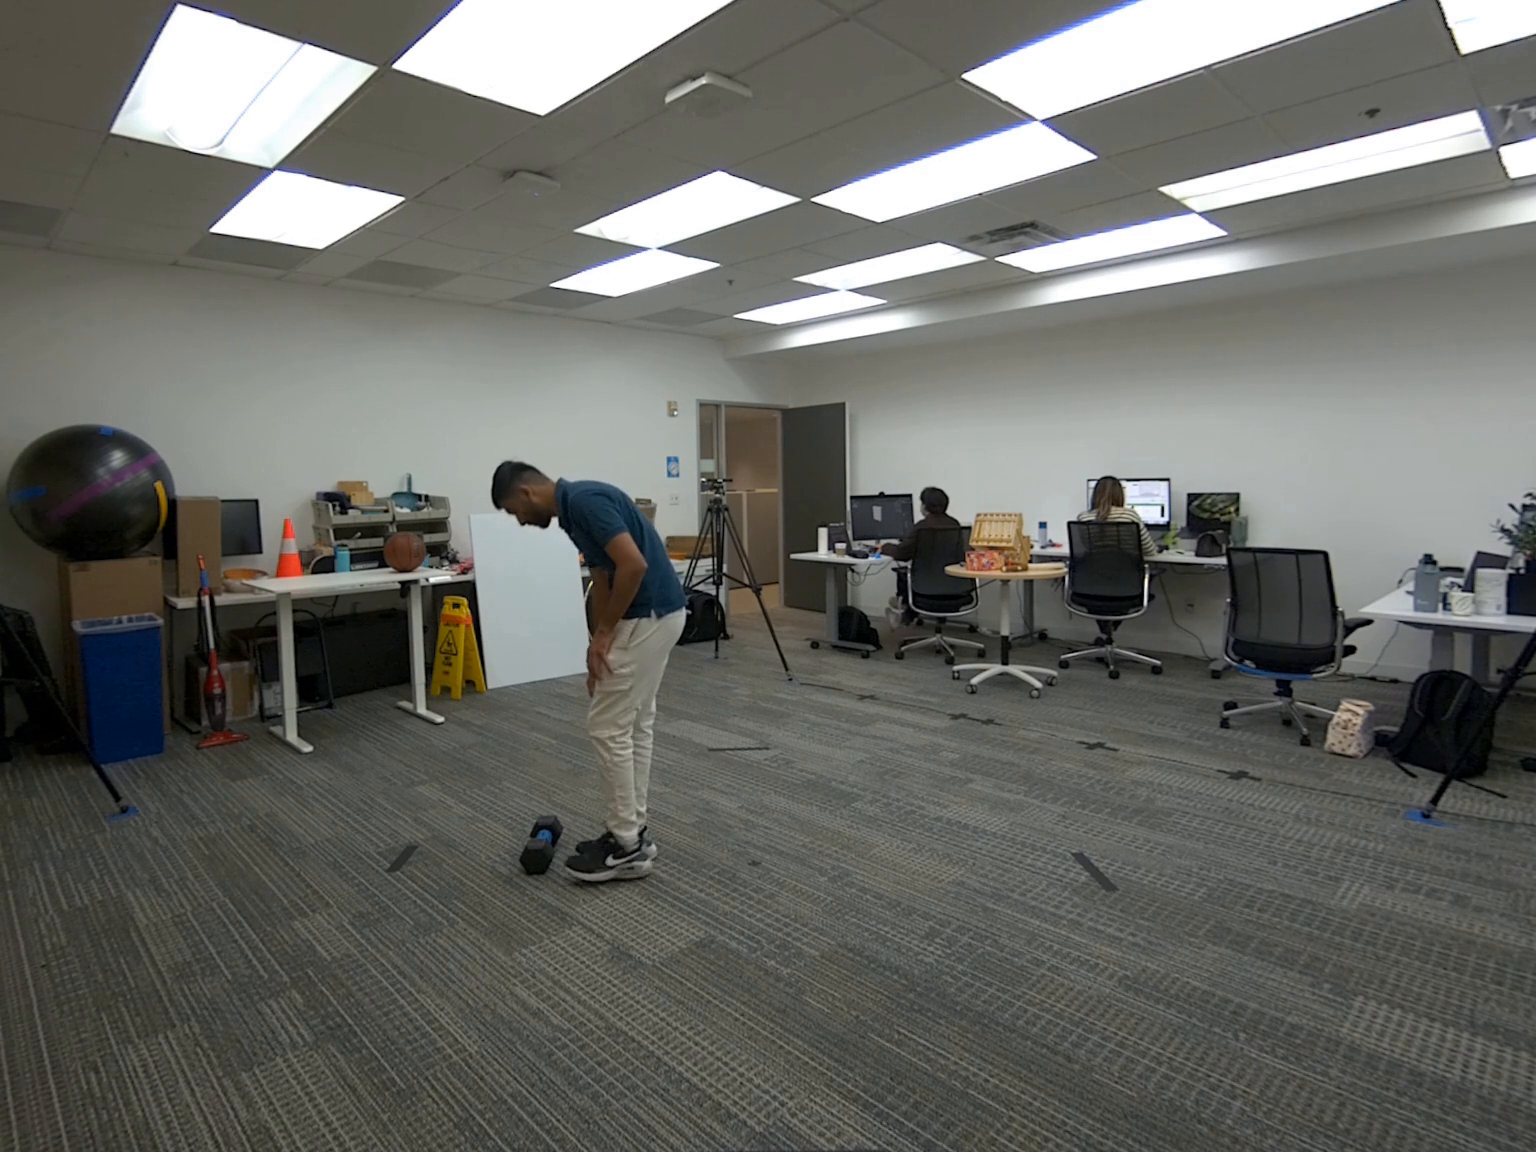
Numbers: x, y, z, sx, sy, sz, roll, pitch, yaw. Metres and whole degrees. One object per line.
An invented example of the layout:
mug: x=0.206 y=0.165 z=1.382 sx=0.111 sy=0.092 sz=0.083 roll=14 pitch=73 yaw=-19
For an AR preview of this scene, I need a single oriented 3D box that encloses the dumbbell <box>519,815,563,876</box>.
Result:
dumbbell: x=-0.840 y=0.997 z=3.185 sx=0.122 sy=0.108 sz=0.296 roll=-2 pitch=6 yaw=-5
